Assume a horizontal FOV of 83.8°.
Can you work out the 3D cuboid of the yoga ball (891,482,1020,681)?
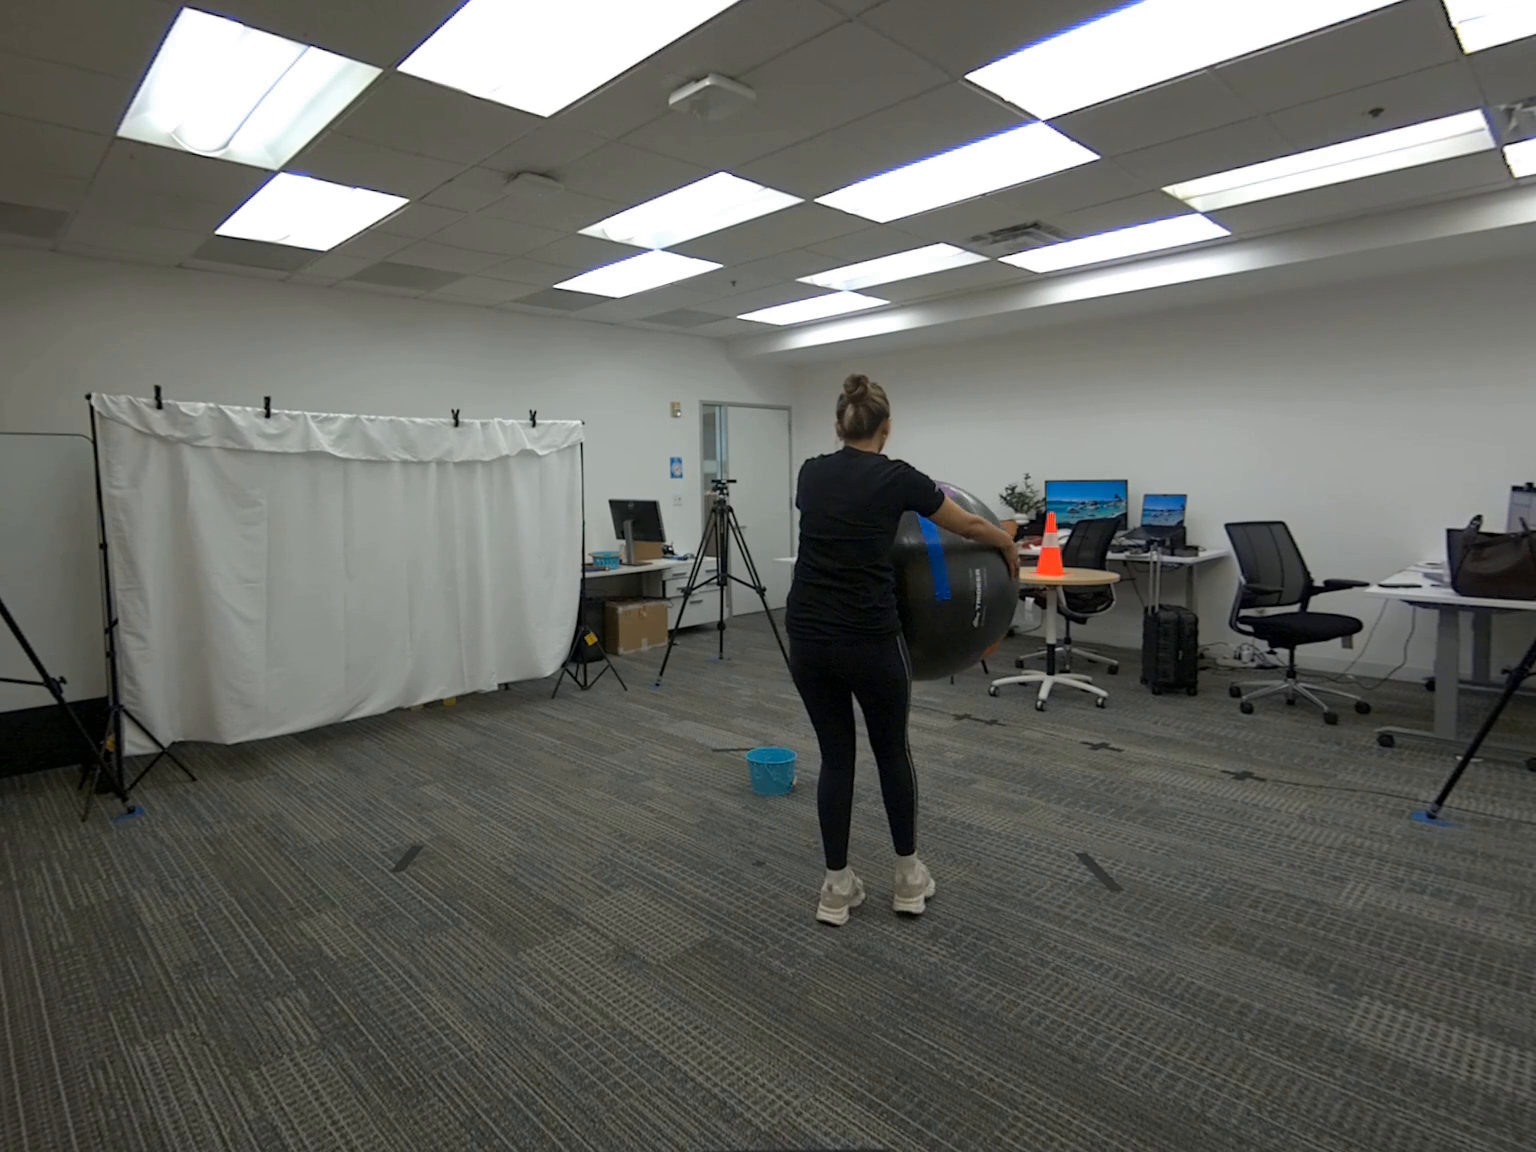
[{"bbox_3d":[0.560,0.024,3.219,0.757,0.755,0.762,-1,5,-2],"label":"yoga ball"}]
